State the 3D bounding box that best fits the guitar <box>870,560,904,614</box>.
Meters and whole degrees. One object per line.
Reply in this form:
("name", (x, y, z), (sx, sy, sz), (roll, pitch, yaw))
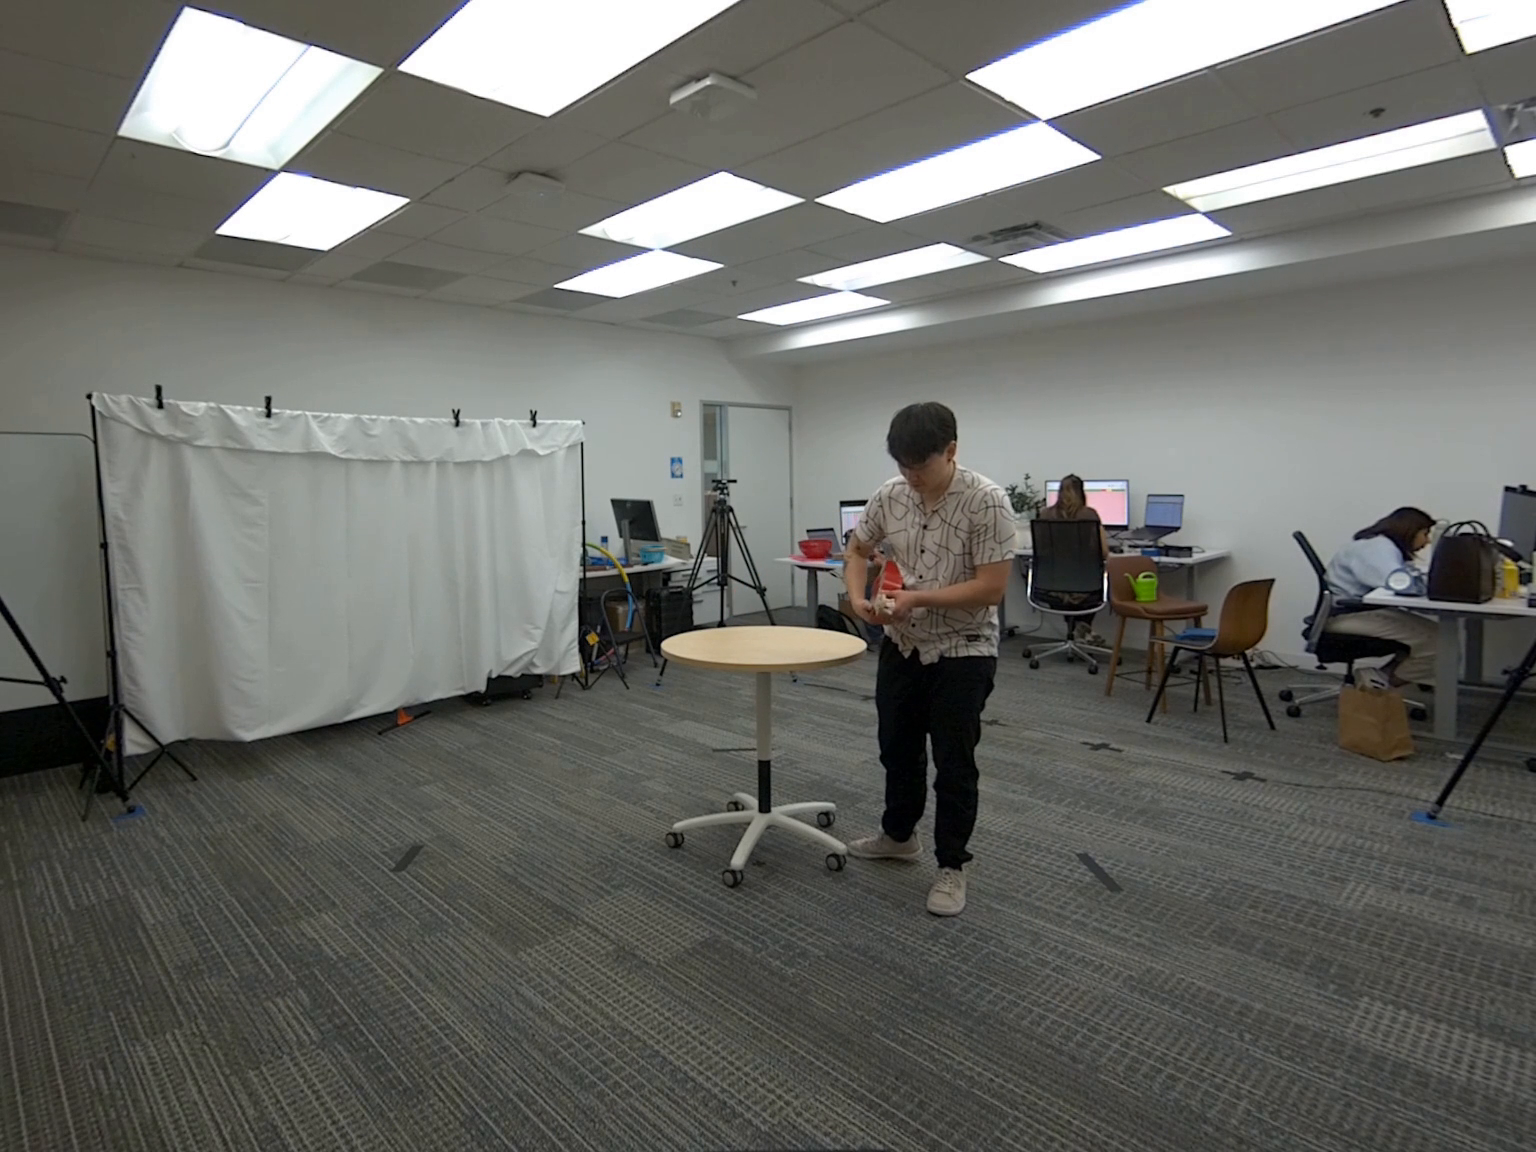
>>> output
("guitar", (0.364, 0.081, 2.660), (0.071, 0.191, 0.500), (20, 16, 1))
